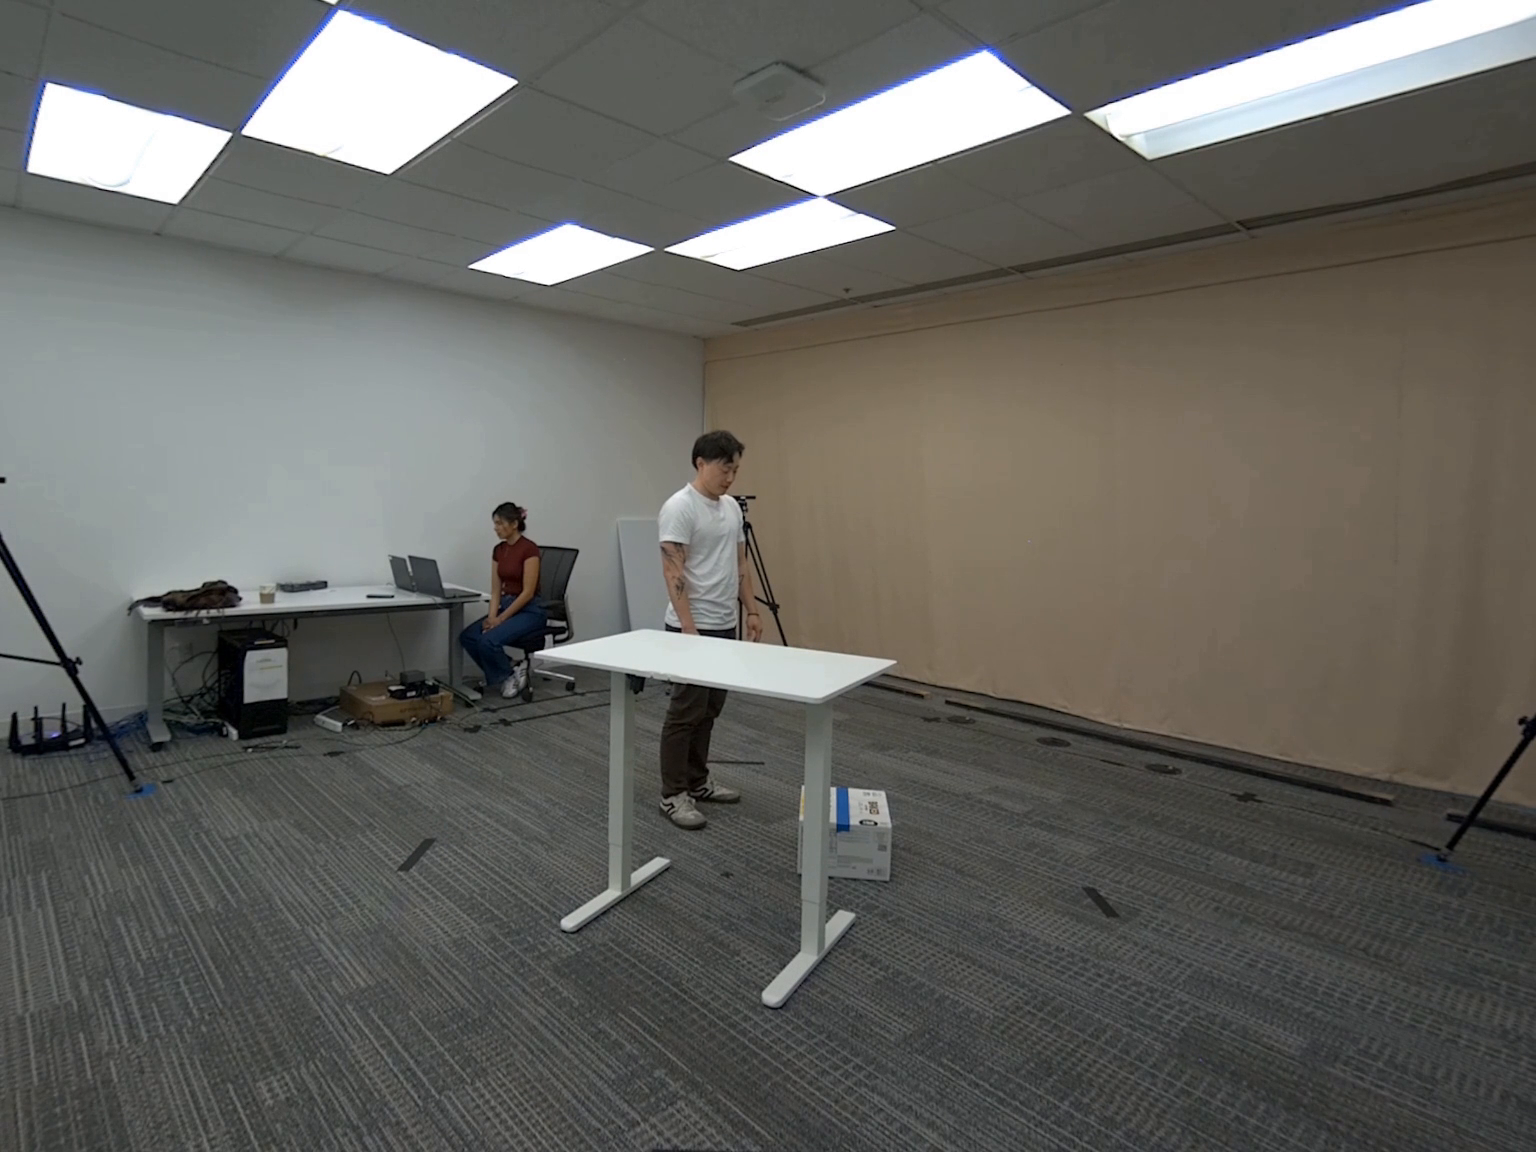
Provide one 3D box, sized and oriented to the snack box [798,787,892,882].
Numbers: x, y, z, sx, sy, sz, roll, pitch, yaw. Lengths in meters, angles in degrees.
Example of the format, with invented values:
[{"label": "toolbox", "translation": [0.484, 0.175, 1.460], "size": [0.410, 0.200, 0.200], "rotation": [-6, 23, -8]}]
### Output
[{"label": "snack box", "translation": [0.289, 0.992, 3.282], "size": [0.342, 0.205, 0.404], "rotation": [1, 4, 5]}]
